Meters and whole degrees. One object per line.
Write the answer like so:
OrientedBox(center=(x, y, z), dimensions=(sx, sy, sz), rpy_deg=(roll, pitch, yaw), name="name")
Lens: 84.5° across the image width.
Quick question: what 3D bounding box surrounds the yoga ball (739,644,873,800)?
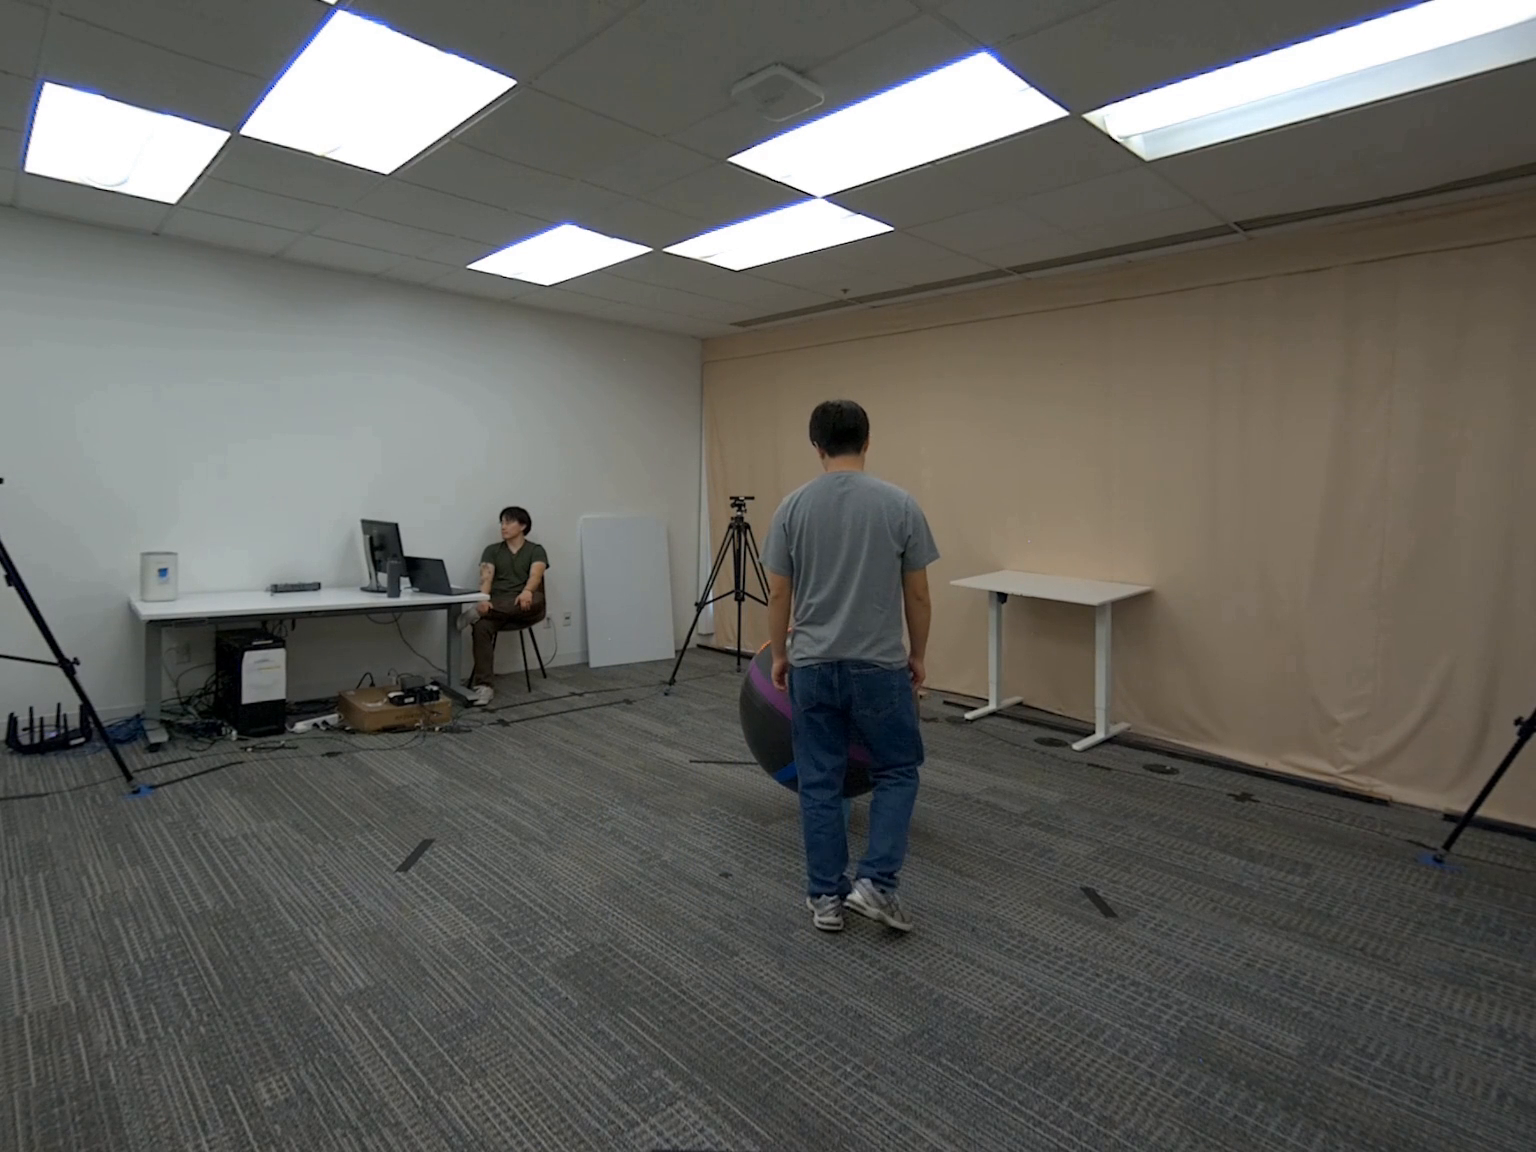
OrientedBox(center=(0.262, 0.563, 3.587), dimensions=(0.757, 0.756, 0.761), rpy_deg=(1, 4, -1), name="yoga ball")
